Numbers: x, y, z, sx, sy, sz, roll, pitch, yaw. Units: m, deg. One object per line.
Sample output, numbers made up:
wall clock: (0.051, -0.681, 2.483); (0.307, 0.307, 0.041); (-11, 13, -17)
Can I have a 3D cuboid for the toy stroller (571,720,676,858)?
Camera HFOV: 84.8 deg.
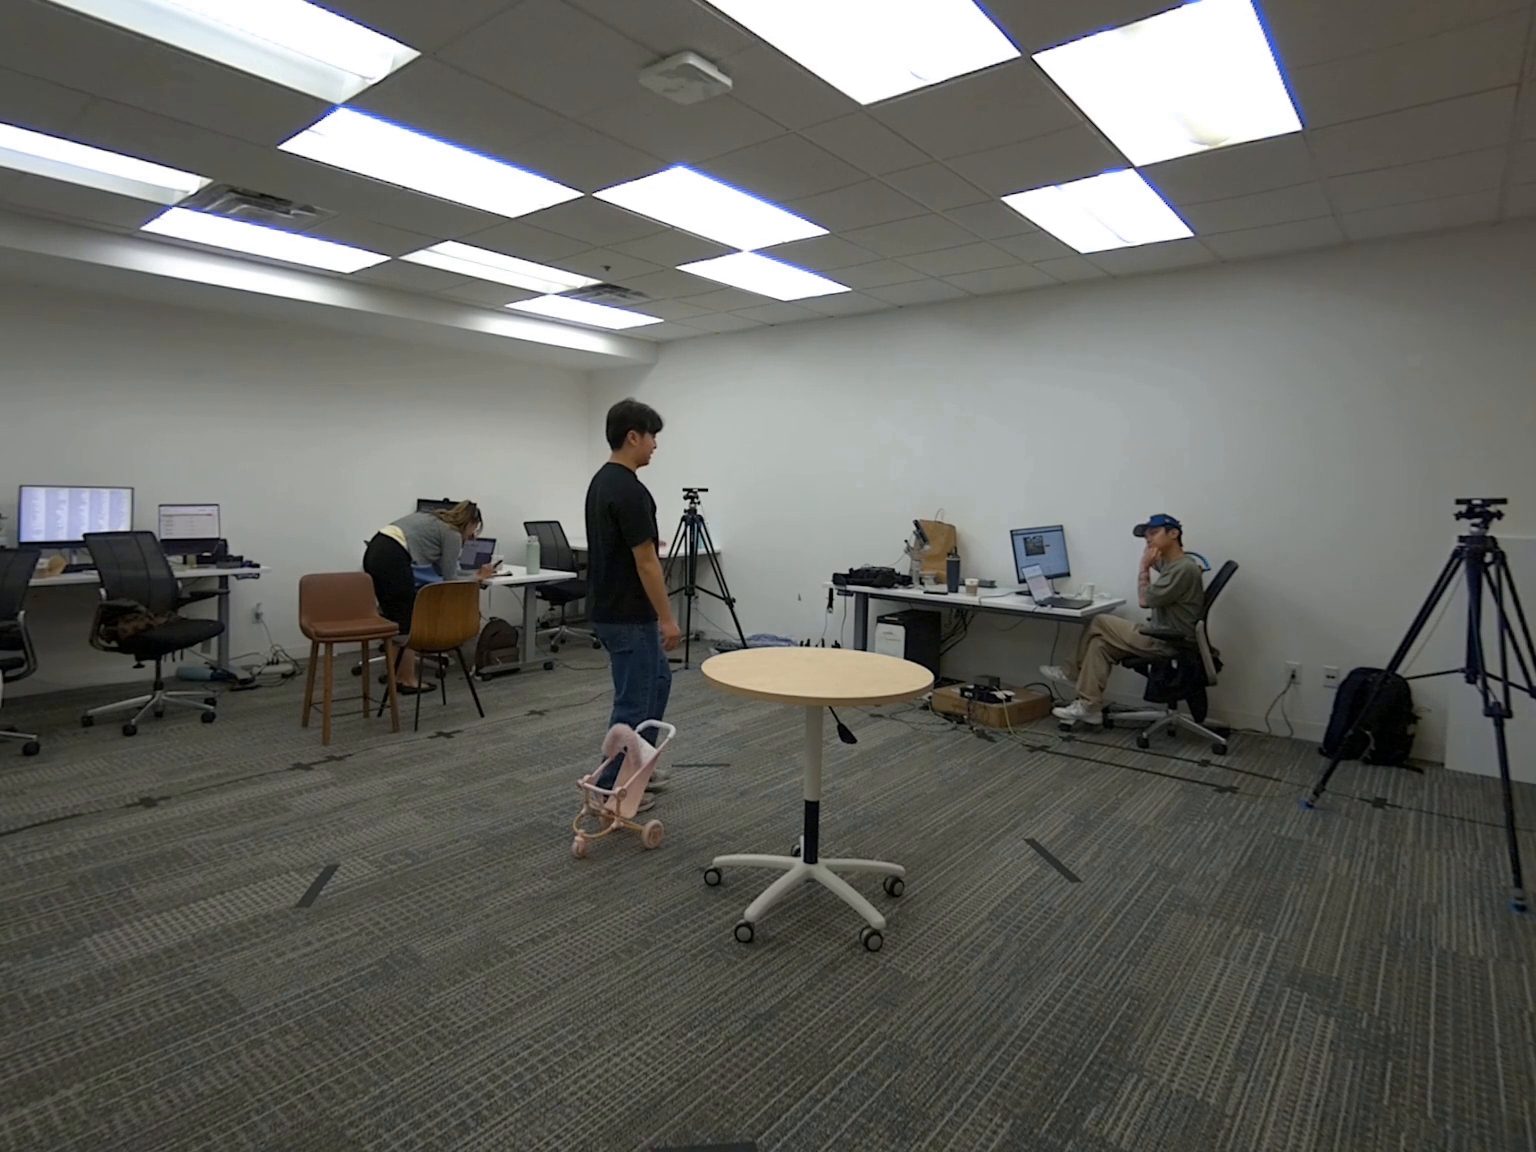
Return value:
toy stroller: (-0.596, 0.817, 3.317); (0.291, 0.538, 0.328); (4, -11, 45)
